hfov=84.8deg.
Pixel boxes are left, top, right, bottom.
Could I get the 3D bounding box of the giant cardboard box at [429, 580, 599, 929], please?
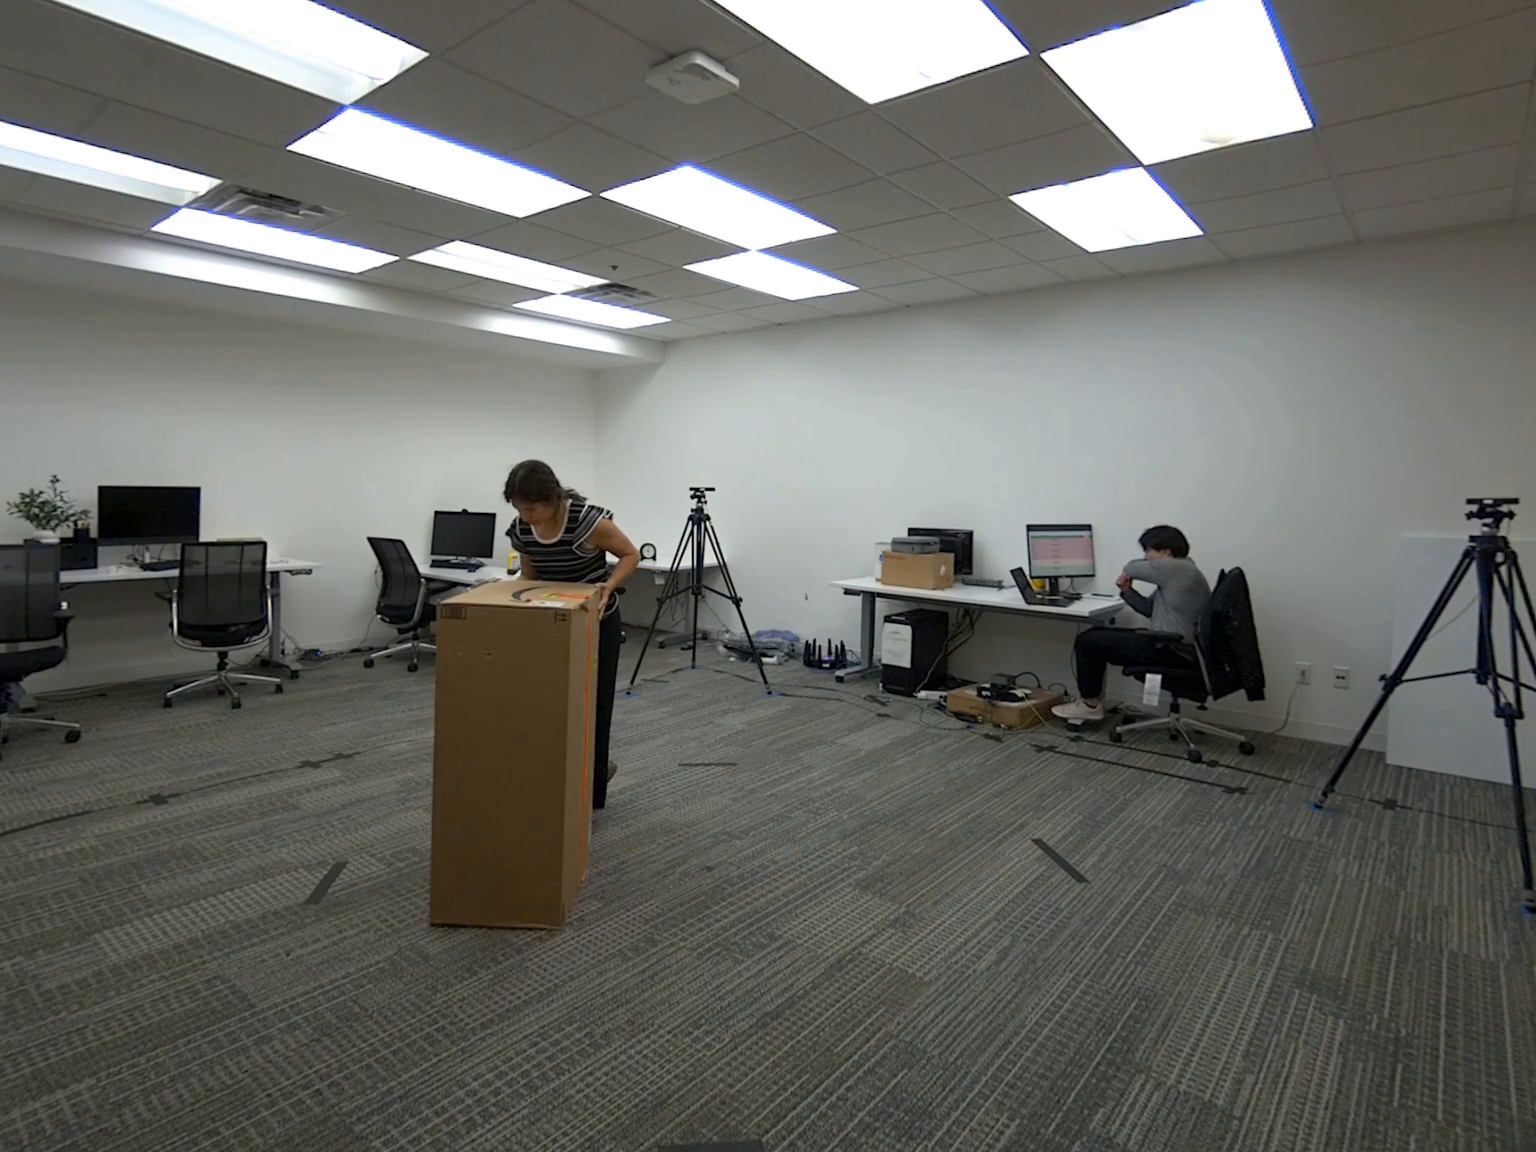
[{"bbox_3d":[-0.856,0.563,2.916,0.427,1.023,0.579,3,3,-1],"label":"giant cardboard box"}]
